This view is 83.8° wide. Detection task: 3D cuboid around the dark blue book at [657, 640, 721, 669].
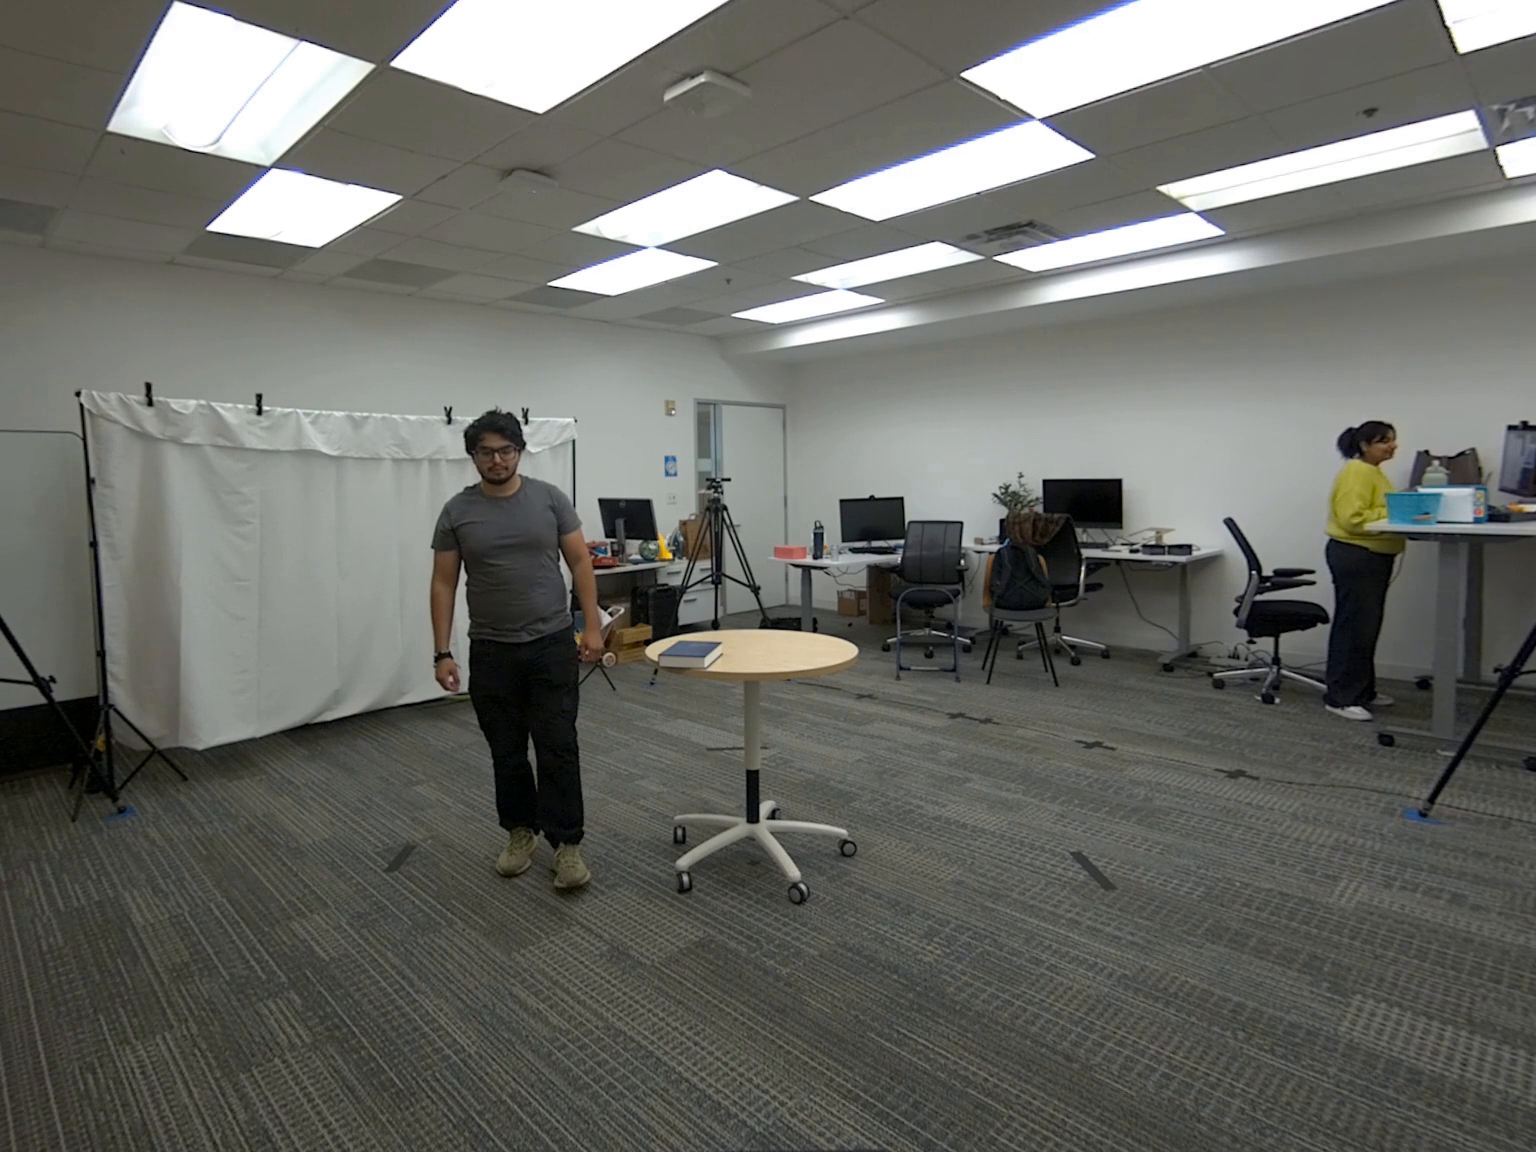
[{"bbox_3d":[-0.254,0.263,2.899,0.165,0.045,0.243,1,7,10],"label":"dark blue book"}]
